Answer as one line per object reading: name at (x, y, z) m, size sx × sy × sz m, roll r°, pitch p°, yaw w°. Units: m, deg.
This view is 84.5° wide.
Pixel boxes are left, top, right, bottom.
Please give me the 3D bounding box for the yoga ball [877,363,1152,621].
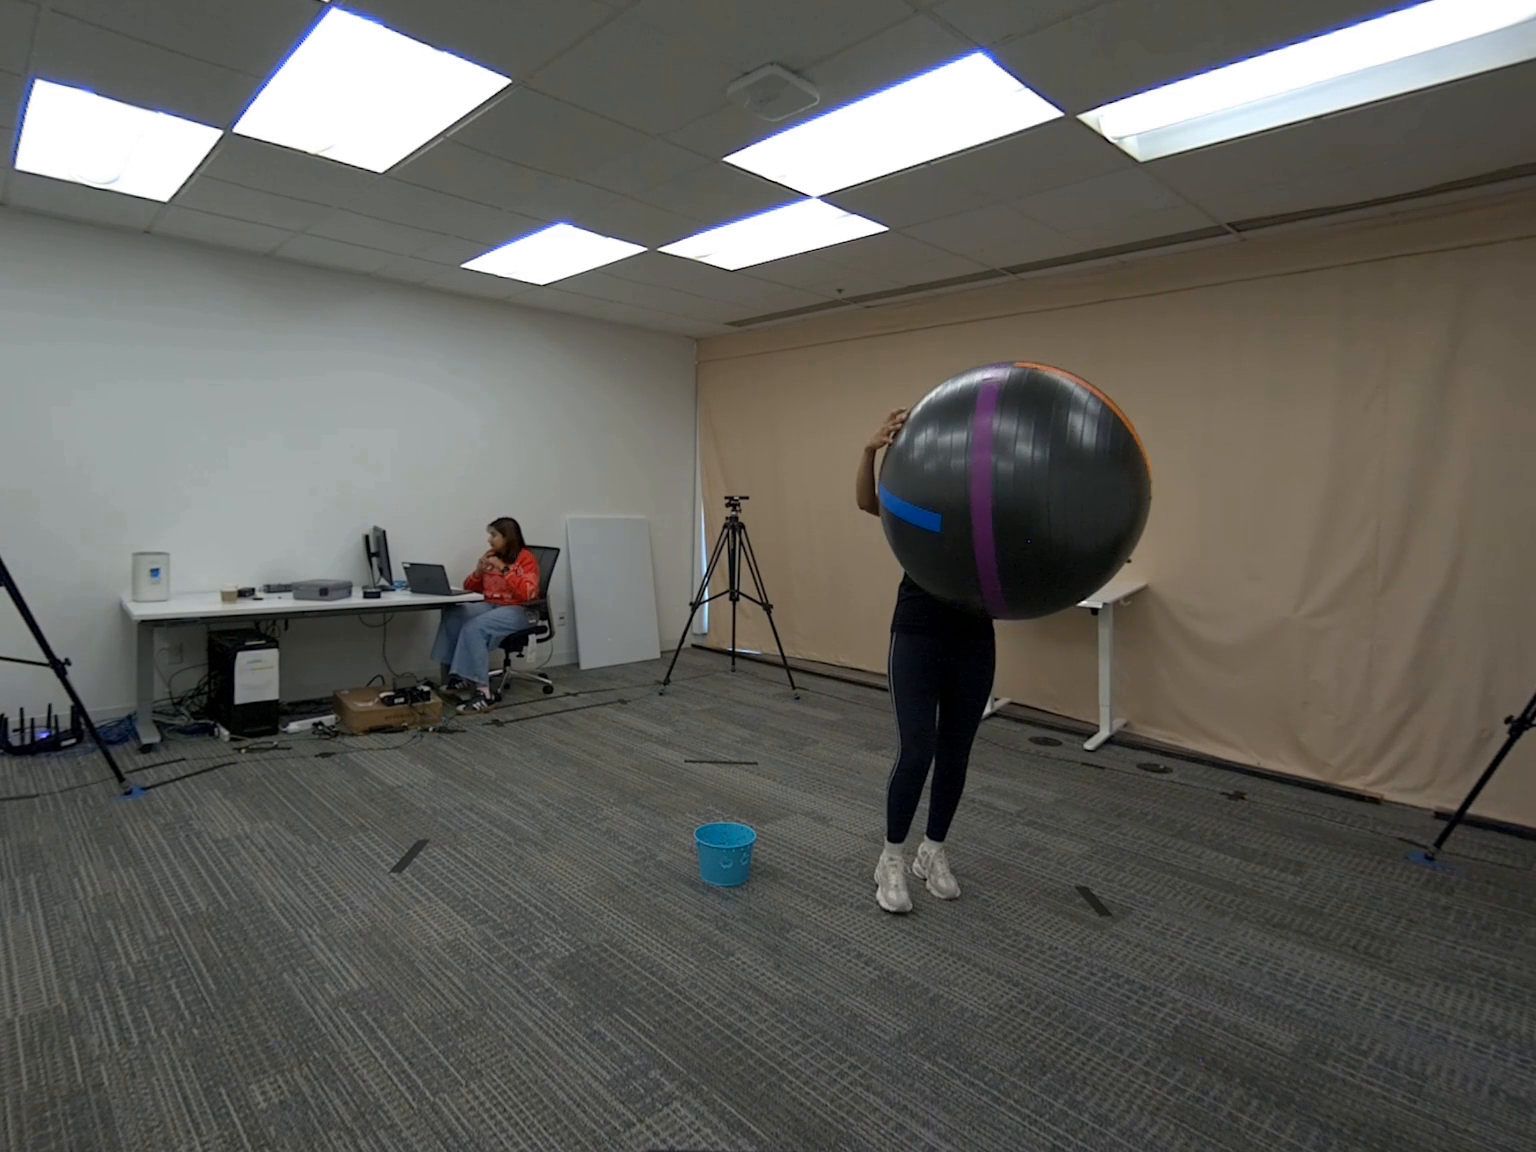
yoga ball at (0.725, -0.242, 2.477) m, size 0.757 × 0.756 × 0.761 m, roll 1°, pitch 4°, yaw -1°
